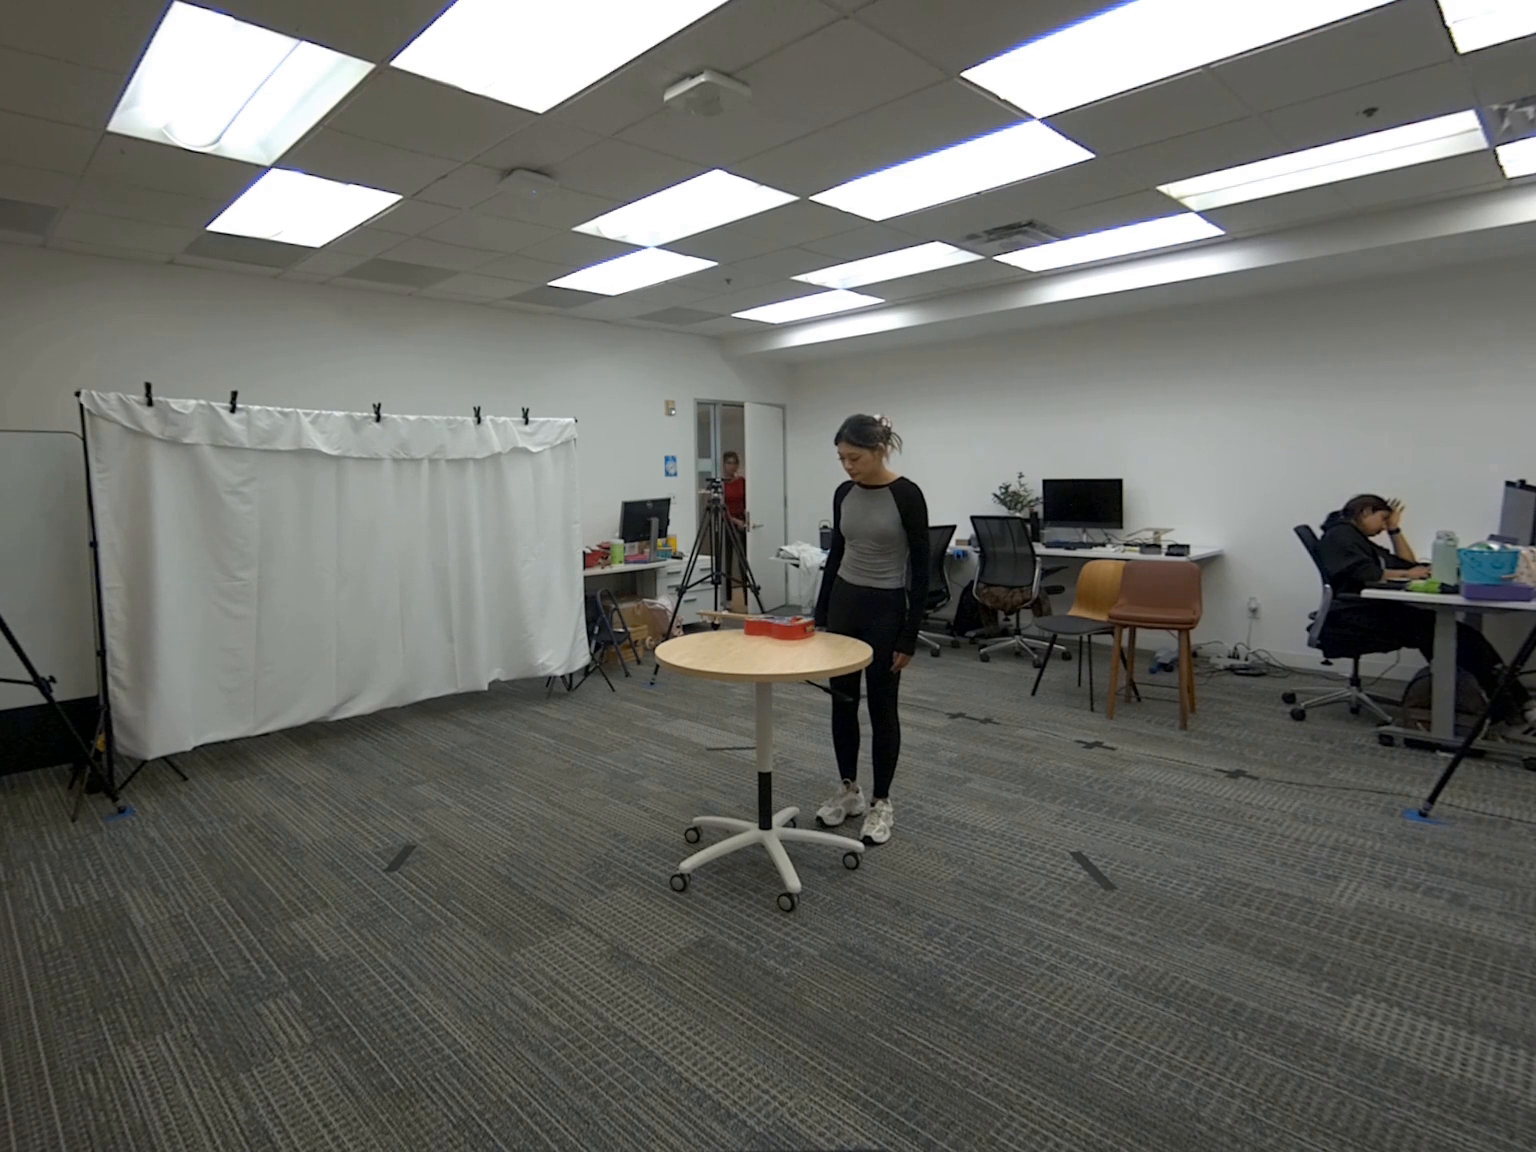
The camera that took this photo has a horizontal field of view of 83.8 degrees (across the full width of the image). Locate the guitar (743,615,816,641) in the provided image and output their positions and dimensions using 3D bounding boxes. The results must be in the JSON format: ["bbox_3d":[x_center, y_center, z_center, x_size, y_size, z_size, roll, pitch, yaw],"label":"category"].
[{"bbox_3d":[-0.046,0.183,3.373,0.513,0.070,0.188,5,8,38],"label":"guitar"}]
